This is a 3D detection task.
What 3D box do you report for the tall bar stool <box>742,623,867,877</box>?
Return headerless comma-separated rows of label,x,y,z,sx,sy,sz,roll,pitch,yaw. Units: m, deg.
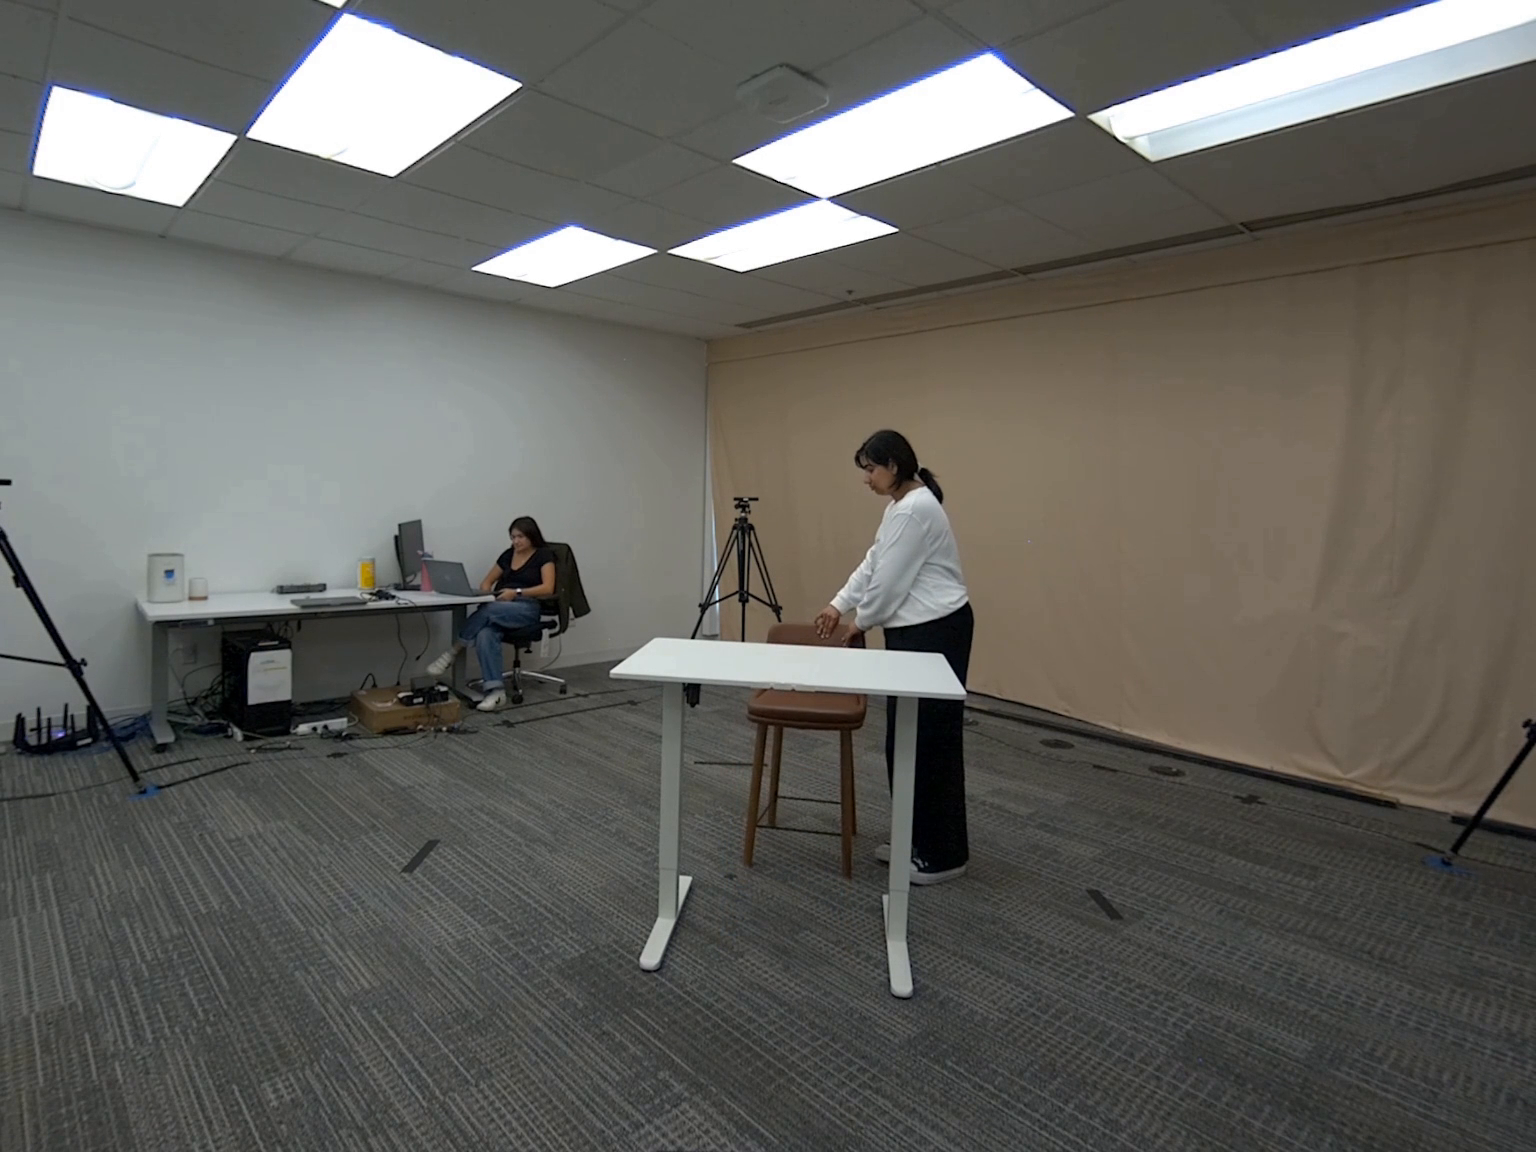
tall bar stool,0.153,0.655,3.361,0.462,0.890,0.462,2,0,13
